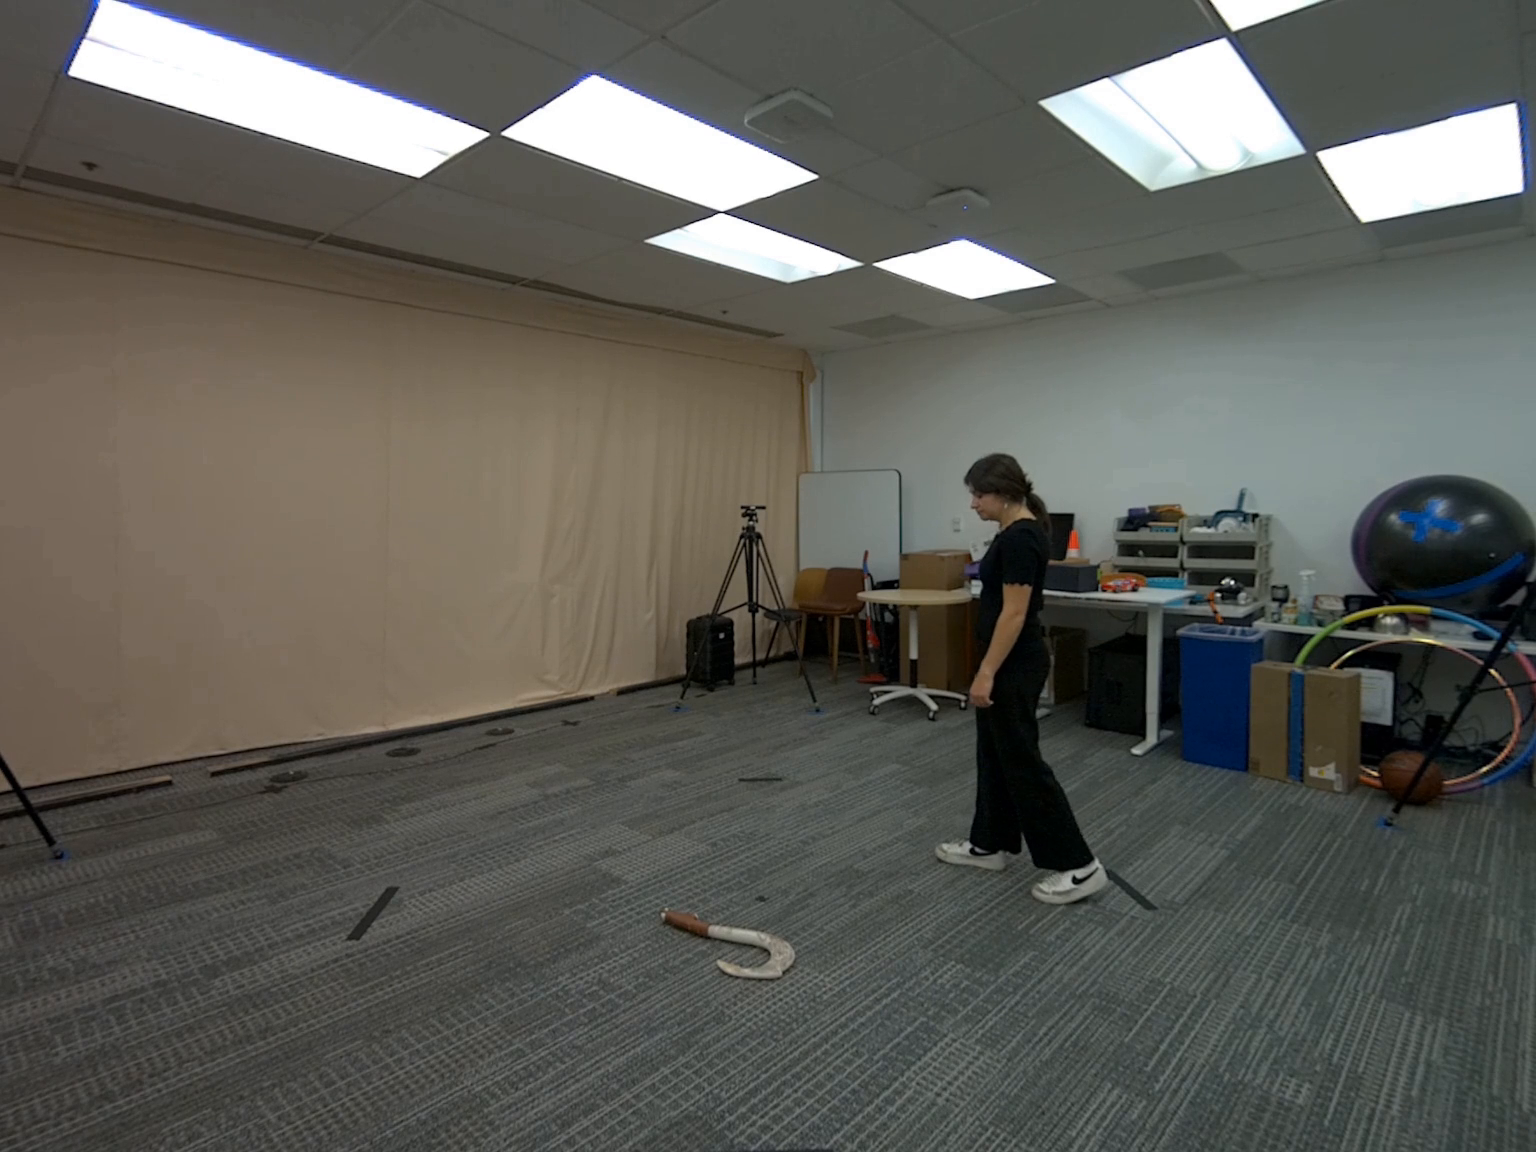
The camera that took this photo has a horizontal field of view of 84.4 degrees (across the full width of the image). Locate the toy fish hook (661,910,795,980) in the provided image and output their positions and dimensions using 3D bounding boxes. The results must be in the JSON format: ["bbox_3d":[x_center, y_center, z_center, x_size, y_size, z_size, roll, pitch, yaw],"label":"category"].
[{"bbox_3d":[-0.160,1.151,2.642,0.521,0.048,0.218,2,4,31],"label":"toy fish hook"}]
